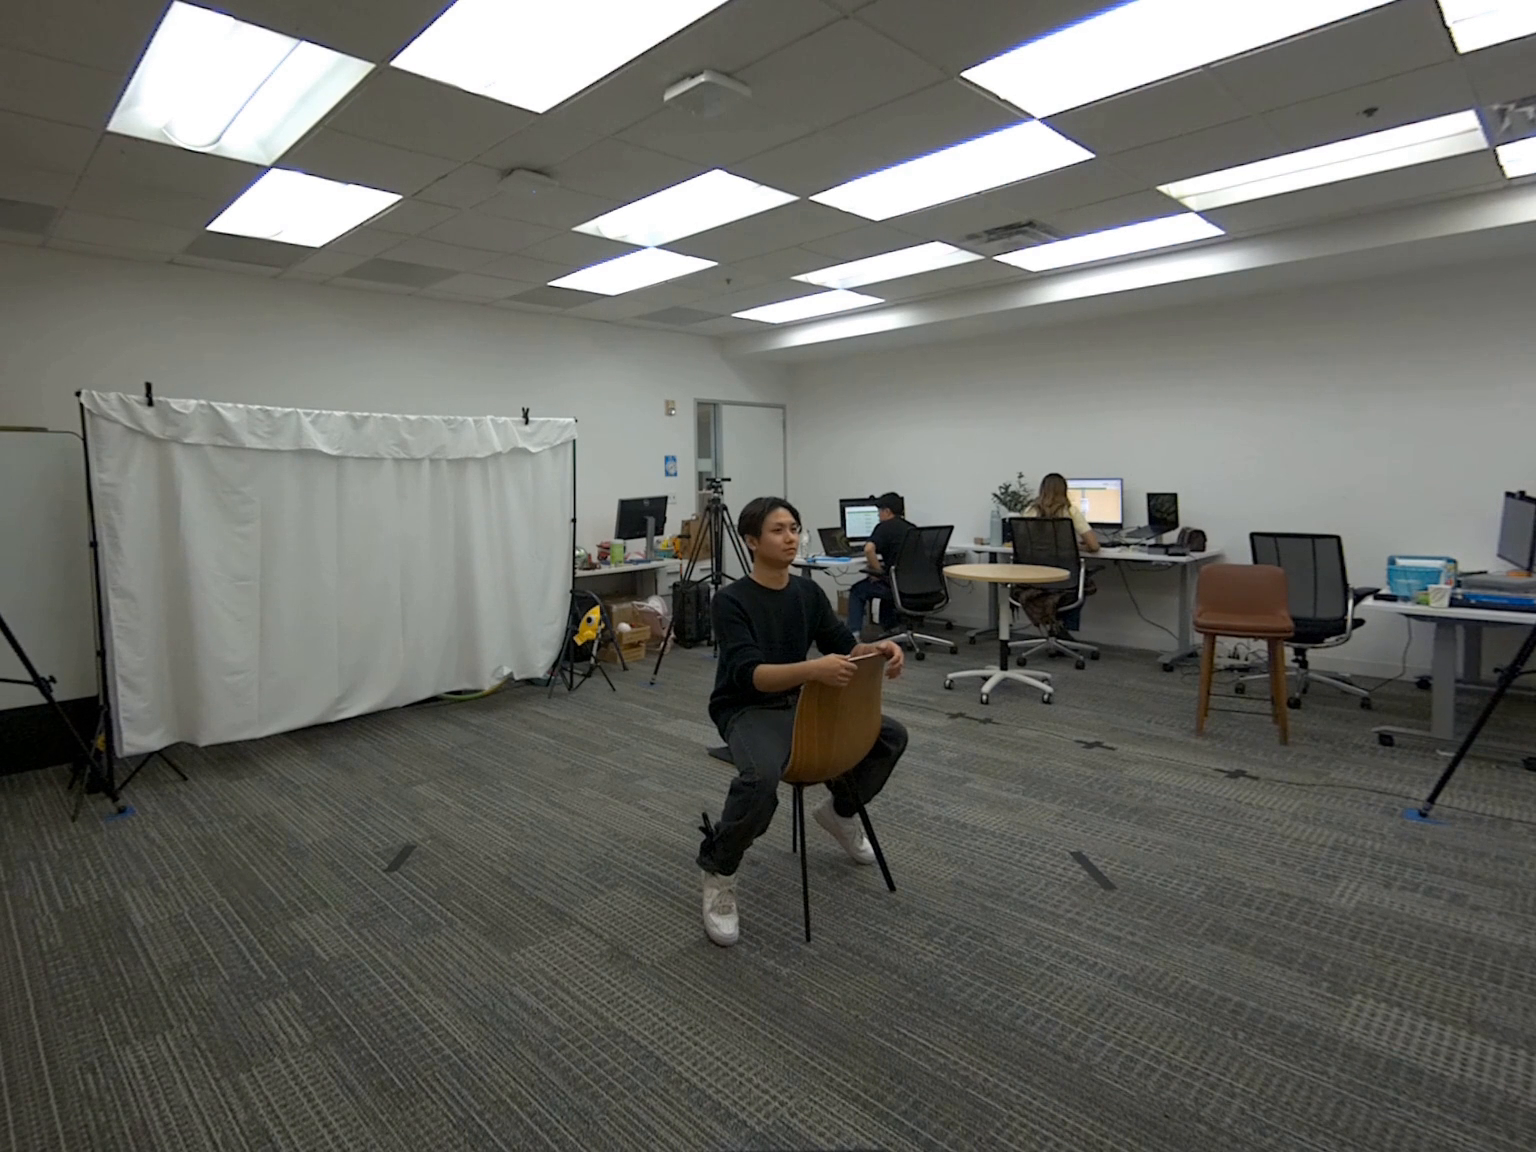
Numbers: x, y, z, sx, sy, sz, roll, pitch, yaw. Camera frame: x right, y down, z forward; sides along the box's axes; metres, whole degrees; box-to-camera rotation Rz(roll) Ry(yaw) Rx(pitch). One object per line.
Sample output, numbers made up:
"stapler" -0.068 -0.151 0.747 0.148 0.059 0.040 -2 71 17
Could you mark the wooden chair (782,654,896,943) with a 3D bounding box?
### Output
"wooden chair" 0.097 0.639 2.859 0.465 0.872 0.540 -6 10 -44
